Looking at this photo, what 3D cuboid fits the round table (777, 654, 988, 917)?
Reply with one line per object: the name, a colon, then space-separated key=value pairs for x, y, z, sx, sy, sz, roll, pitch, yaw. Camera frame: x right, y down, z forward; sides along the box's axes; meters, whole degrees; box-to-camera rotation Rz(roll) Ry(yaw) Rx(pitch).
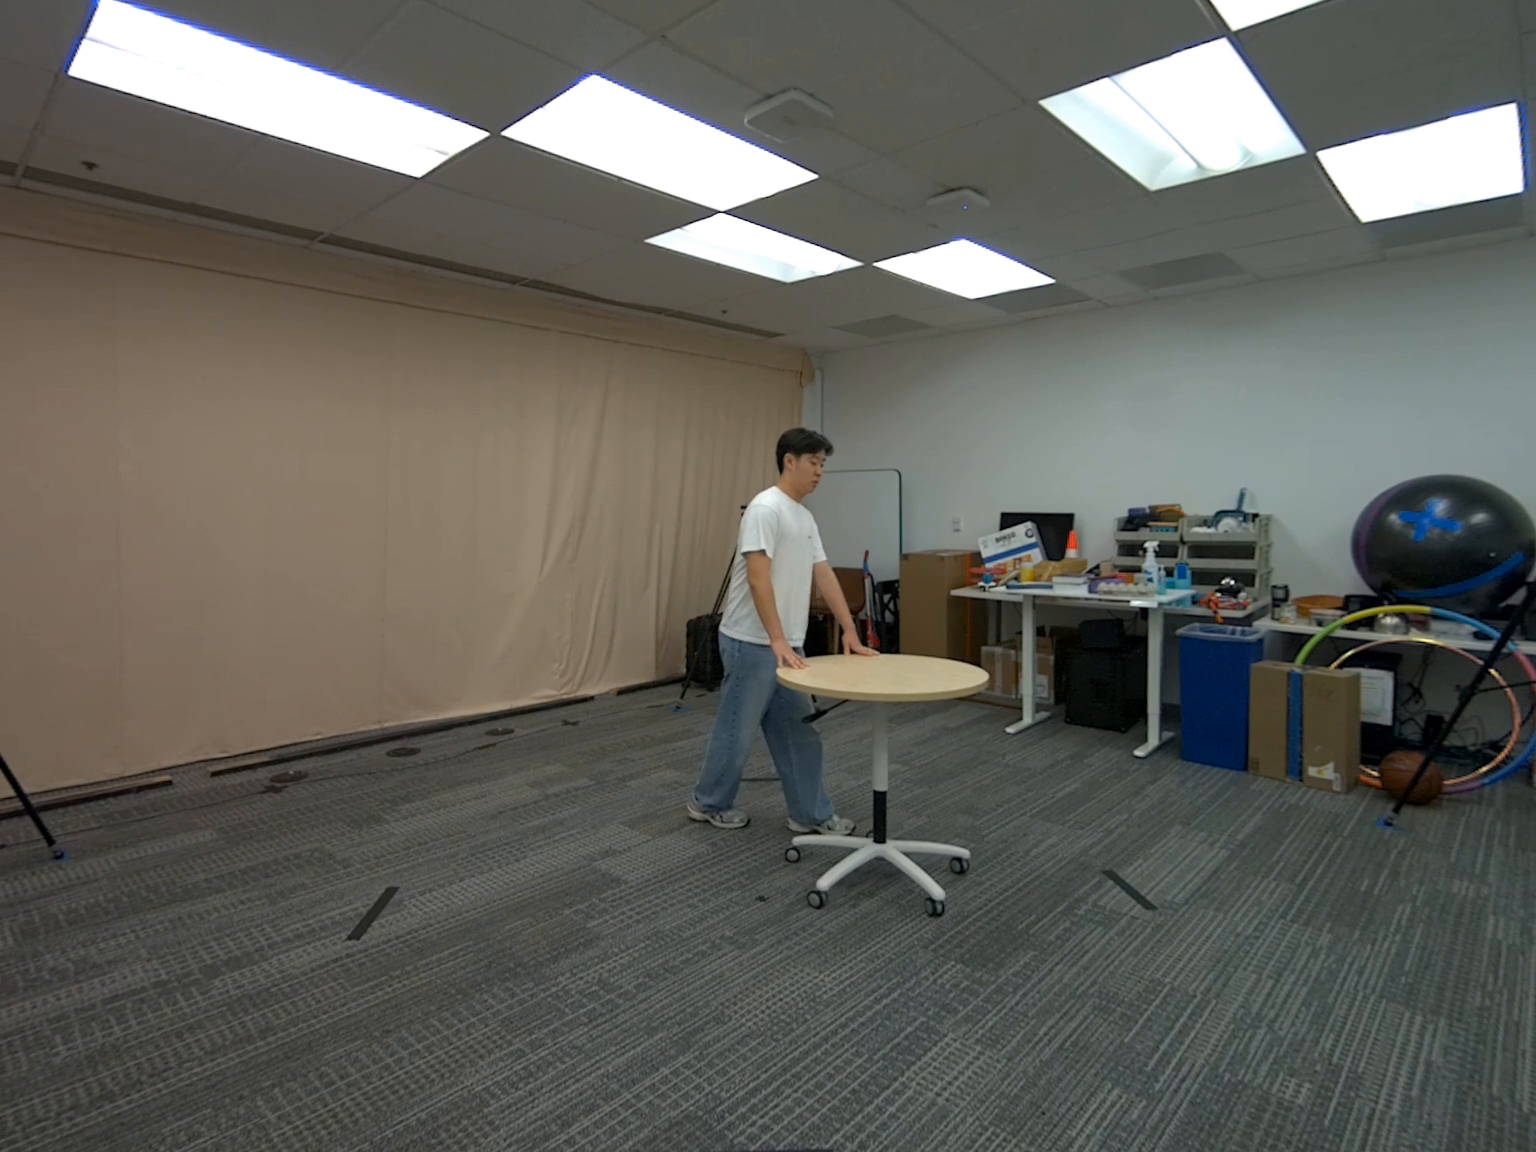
round table: x=0.409 y=0.743 z=3.121 sx=0.763 sy=0.792 sz=0.766 roll=0 pitch=4 yaw=-2
